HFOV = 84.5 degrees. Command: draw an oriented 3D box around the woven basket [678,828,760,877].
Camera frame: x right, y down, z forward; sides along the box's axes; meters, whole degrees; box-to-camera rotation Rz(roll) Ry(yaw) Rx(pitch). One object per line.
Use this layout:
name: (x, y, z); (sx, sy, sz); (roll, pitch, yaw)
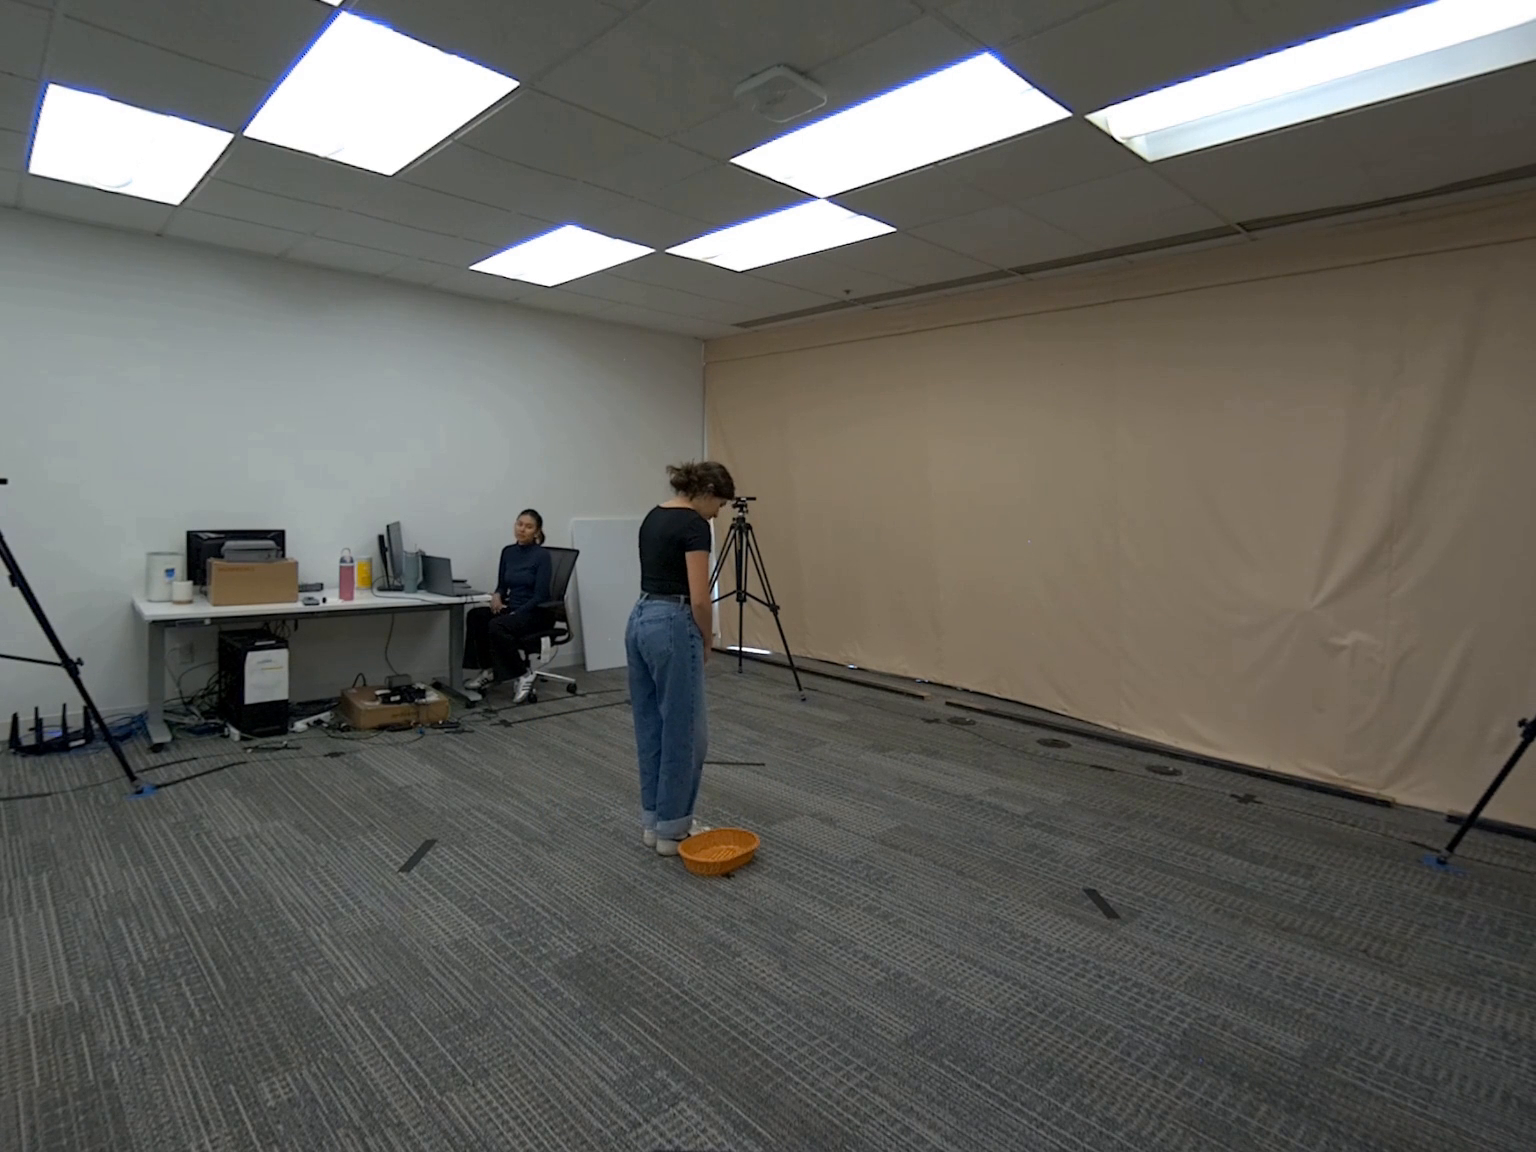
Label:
woven basket: (-0.191, 1.051, 3.216); (0.259, 0.073, 0.342); (5, 7, 44)
